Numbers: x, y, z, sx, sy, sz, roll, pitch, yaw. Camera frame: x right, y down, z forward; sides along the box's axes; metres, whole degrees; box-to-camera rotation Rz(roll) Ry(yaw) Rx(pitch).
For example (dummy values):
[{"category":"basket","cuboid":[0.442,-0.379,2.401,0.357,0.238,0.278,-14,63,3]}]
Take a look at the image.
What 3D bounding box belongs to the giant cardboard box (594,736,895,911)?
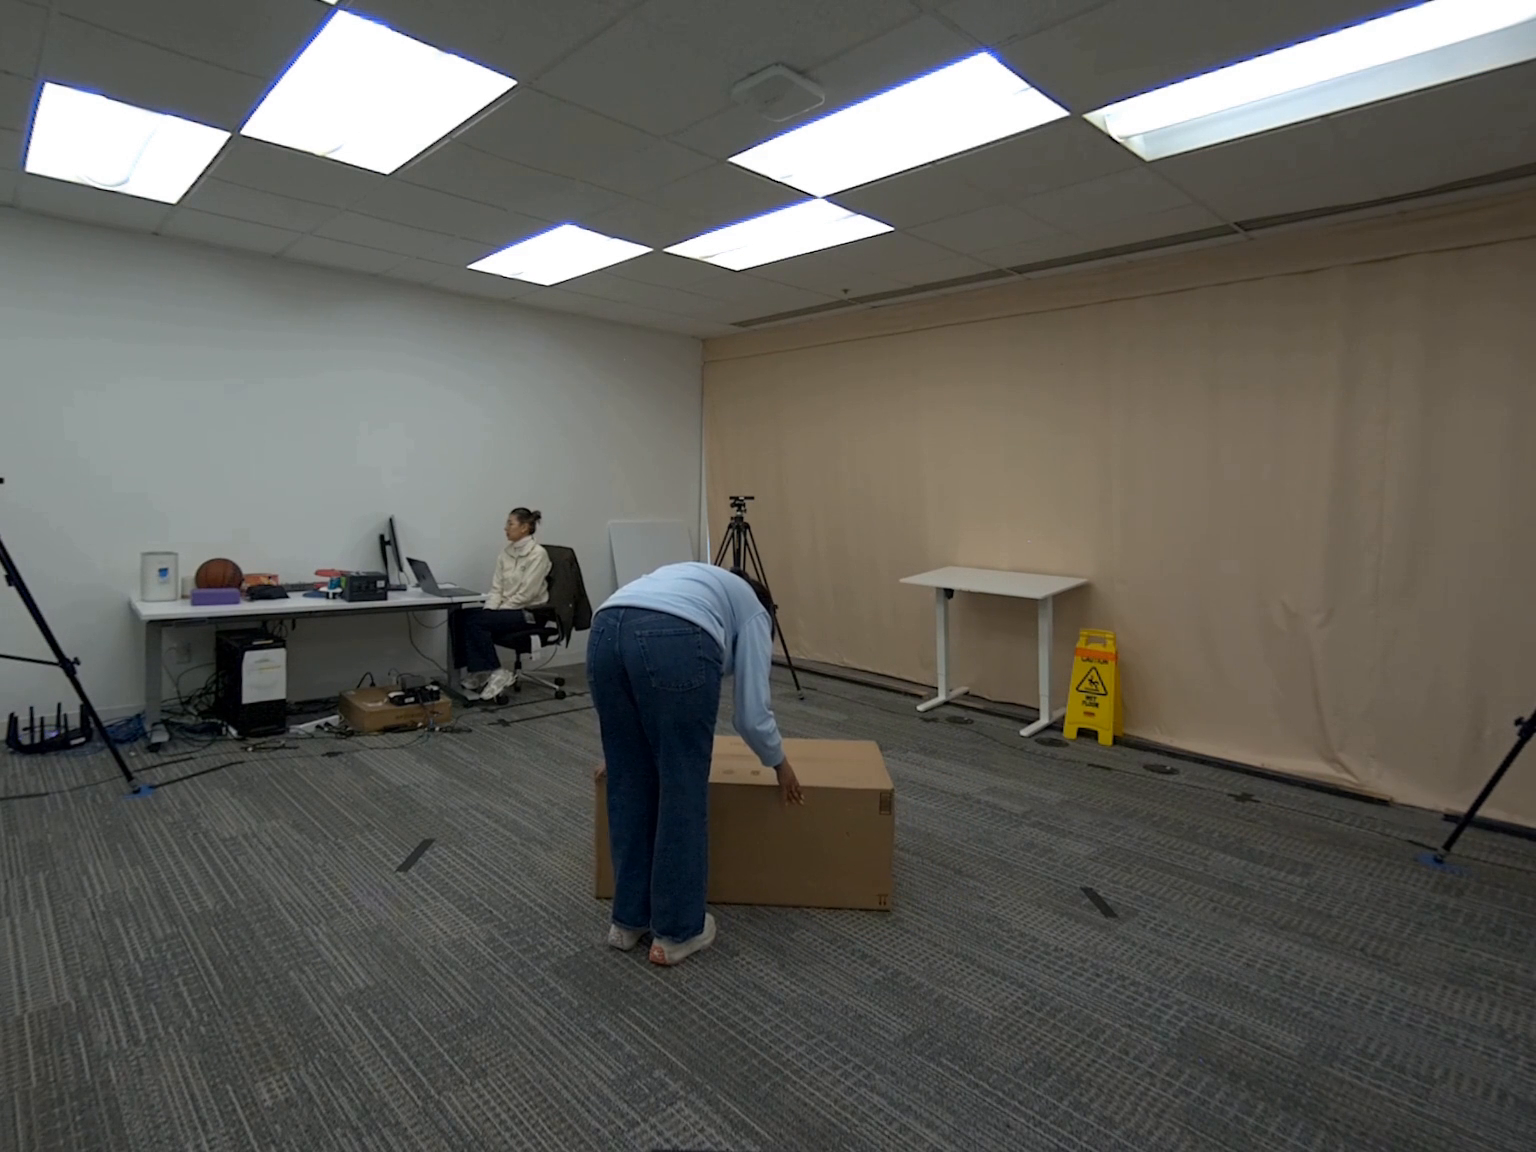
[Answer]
[{"category":"giant cardboard box","cuboid":[-0.086,0.889,3.154,1.028,0.425,0.578,1,5,2]}]
